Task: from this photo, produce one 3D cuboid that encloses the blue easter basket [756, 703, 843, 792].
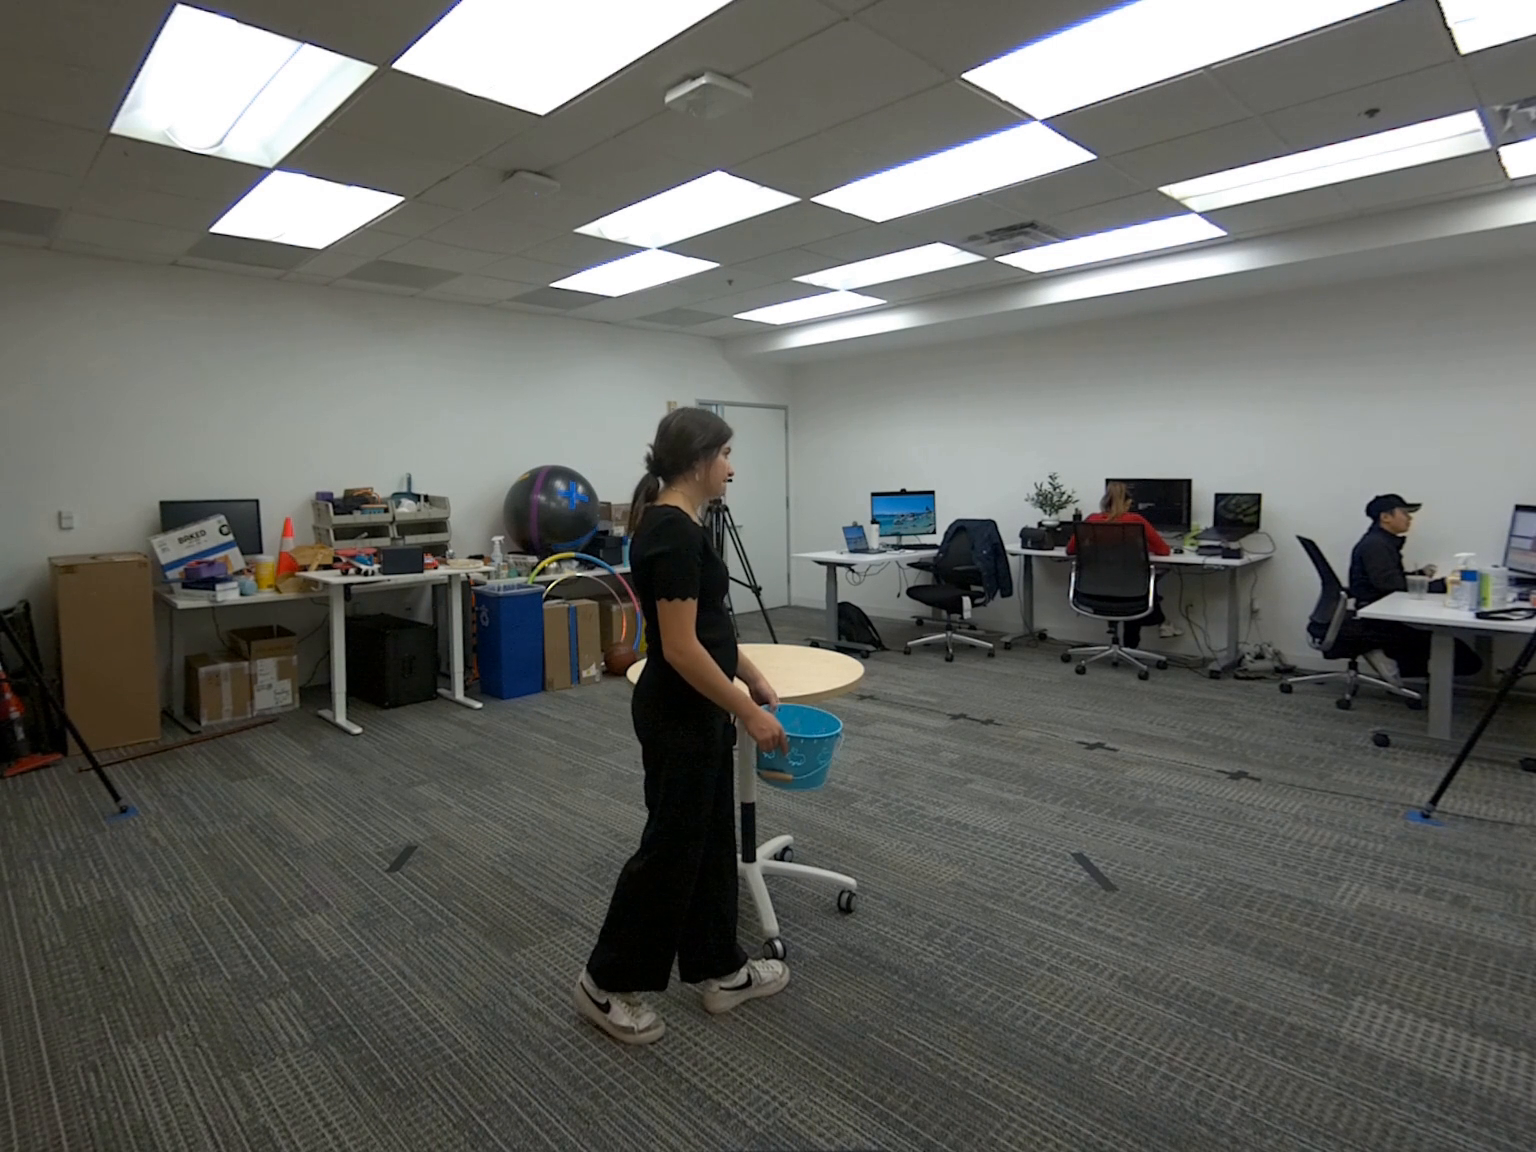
[{"bbox_3d":[0.044,0.439,2.181,0.243,0.155,0.245,5,9,-2],"label":"blue easter basket"}]
